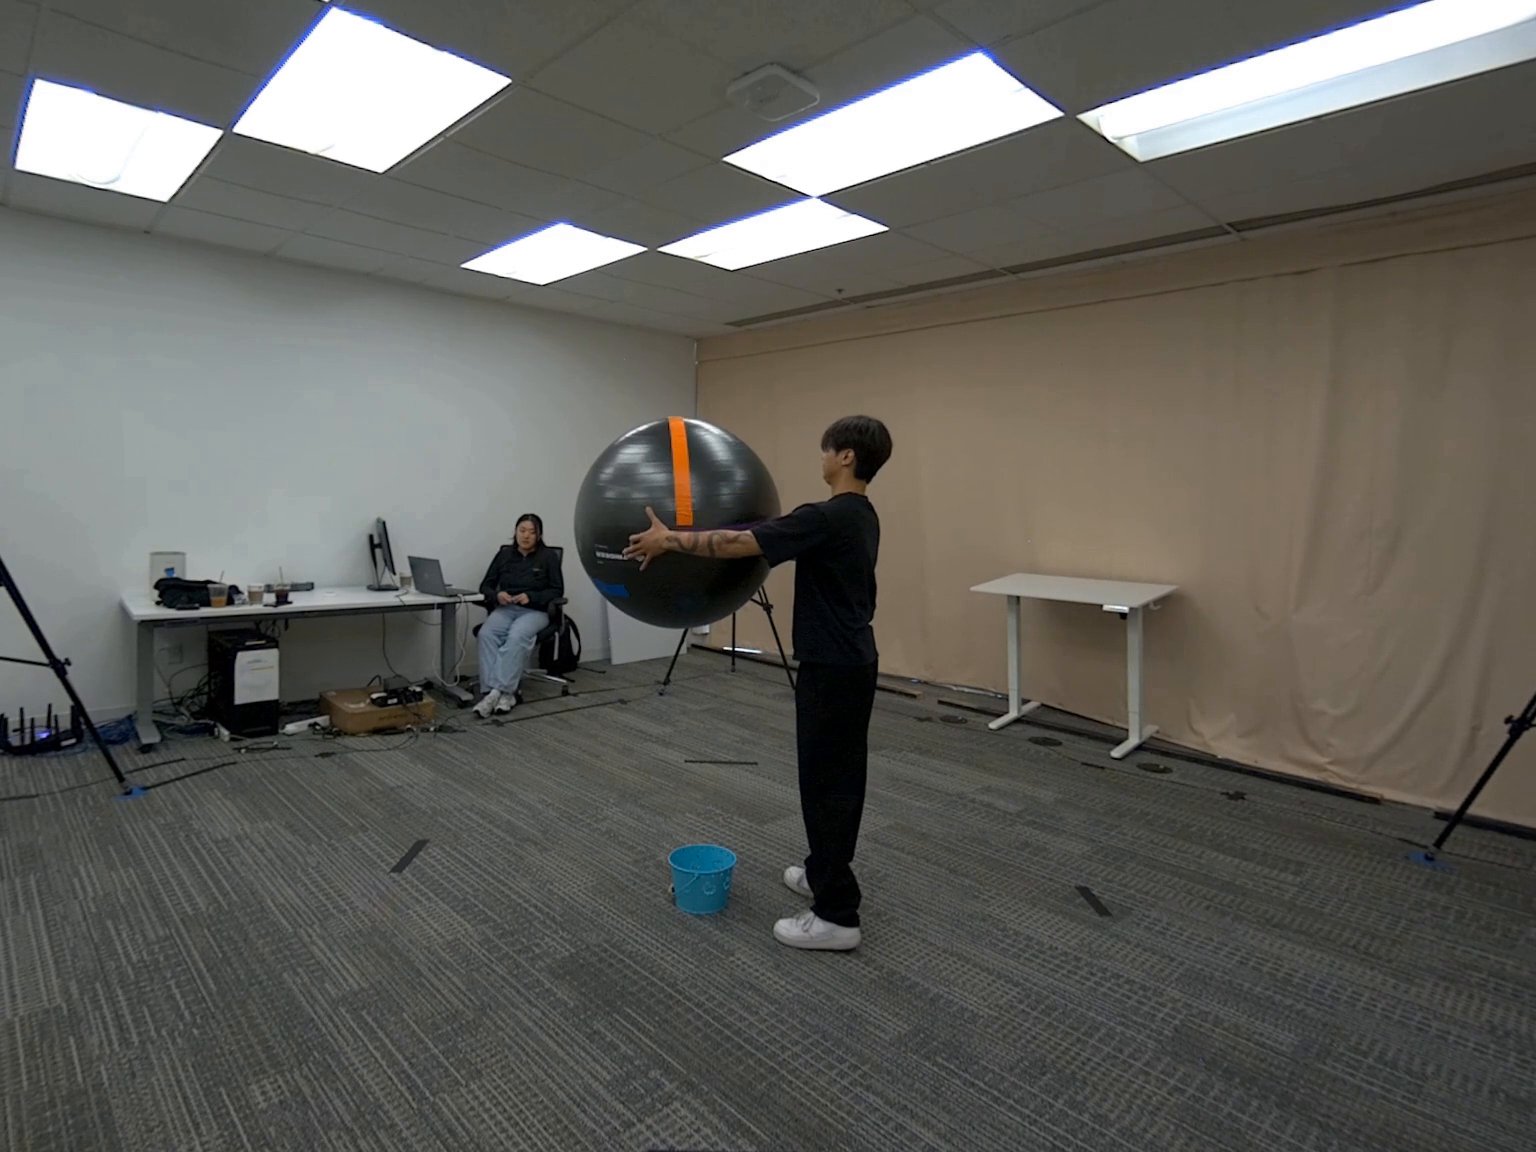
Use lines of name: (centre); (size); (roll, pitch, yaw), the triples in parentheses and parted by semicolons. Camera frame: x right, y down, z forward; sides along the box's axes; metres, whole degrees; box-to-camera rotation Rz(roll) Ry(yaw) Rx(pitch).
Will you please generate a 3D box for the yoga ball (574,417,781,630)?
yoga ball: (-0.347, -0.189, 3.083); (0.757, 0.756, 0.761); (1, 4, -1)
